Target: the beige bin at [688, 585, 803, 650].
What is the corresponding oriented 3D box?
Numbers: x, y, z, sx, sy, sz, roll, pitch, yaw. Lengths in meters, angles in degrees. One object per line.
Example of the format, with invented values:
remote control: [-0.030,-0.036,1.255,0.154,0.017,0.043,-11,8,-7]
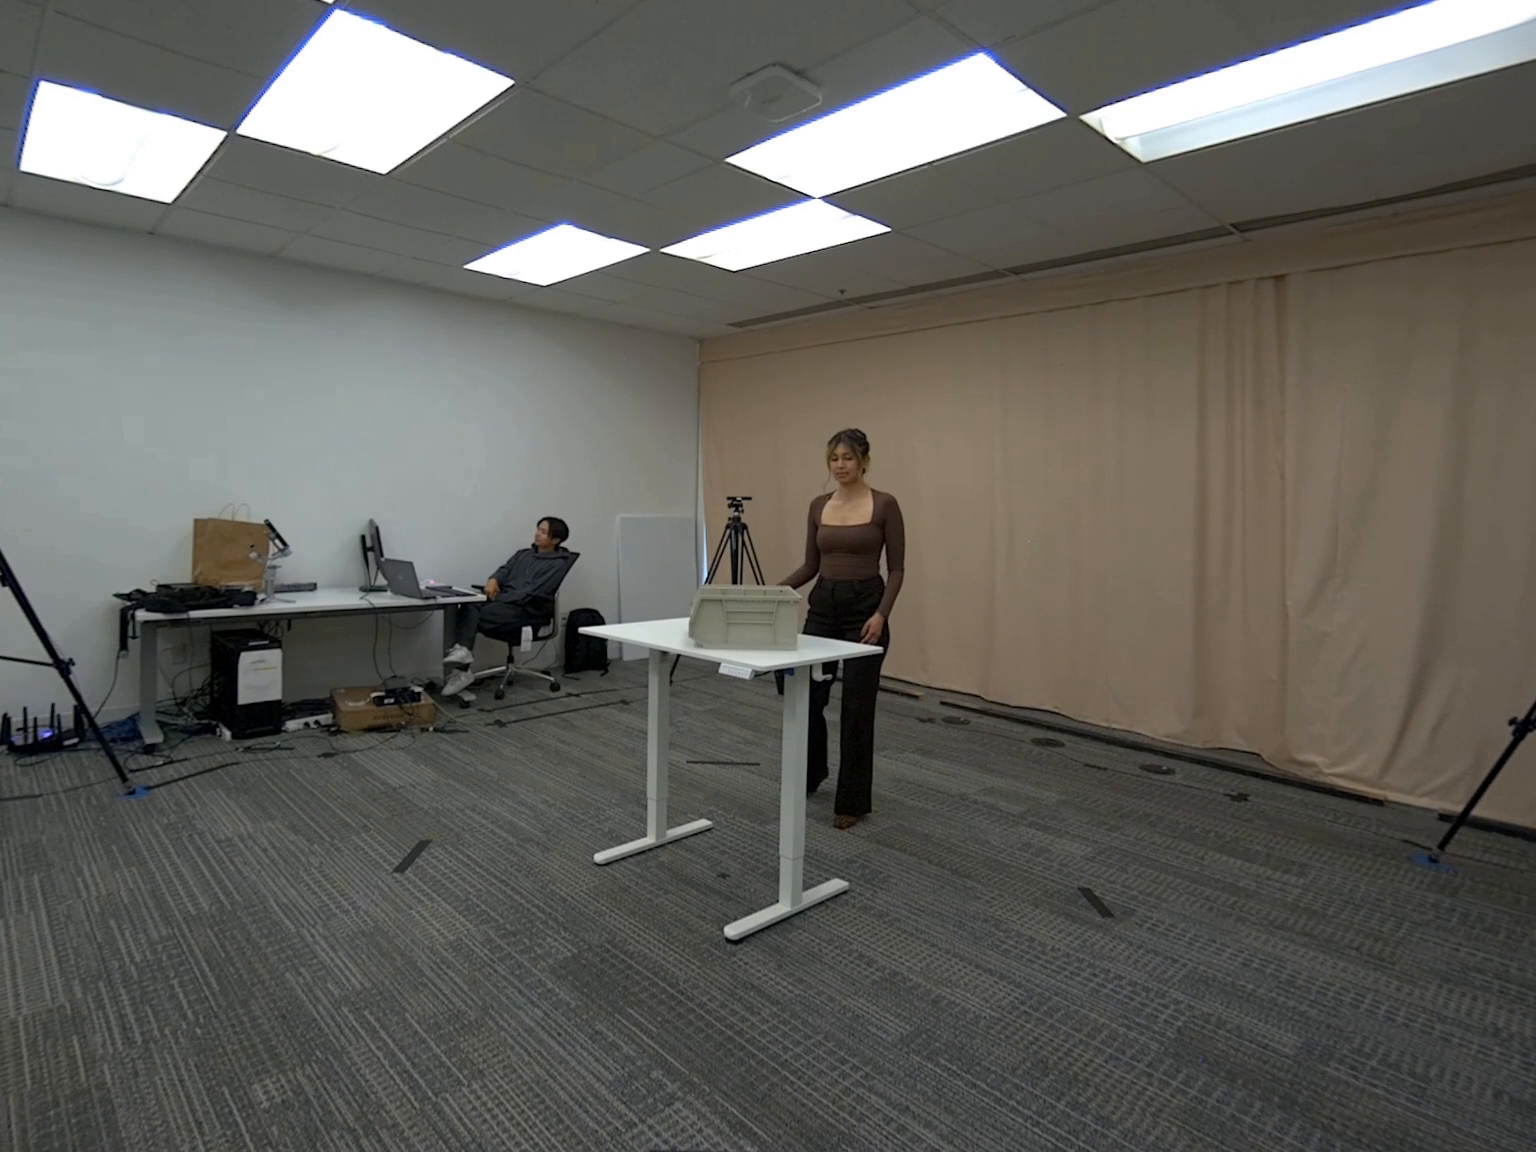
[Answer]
beige bin: [-0.098,0.146,3.010,0.377,0.189,0.424,2,3,-3]
